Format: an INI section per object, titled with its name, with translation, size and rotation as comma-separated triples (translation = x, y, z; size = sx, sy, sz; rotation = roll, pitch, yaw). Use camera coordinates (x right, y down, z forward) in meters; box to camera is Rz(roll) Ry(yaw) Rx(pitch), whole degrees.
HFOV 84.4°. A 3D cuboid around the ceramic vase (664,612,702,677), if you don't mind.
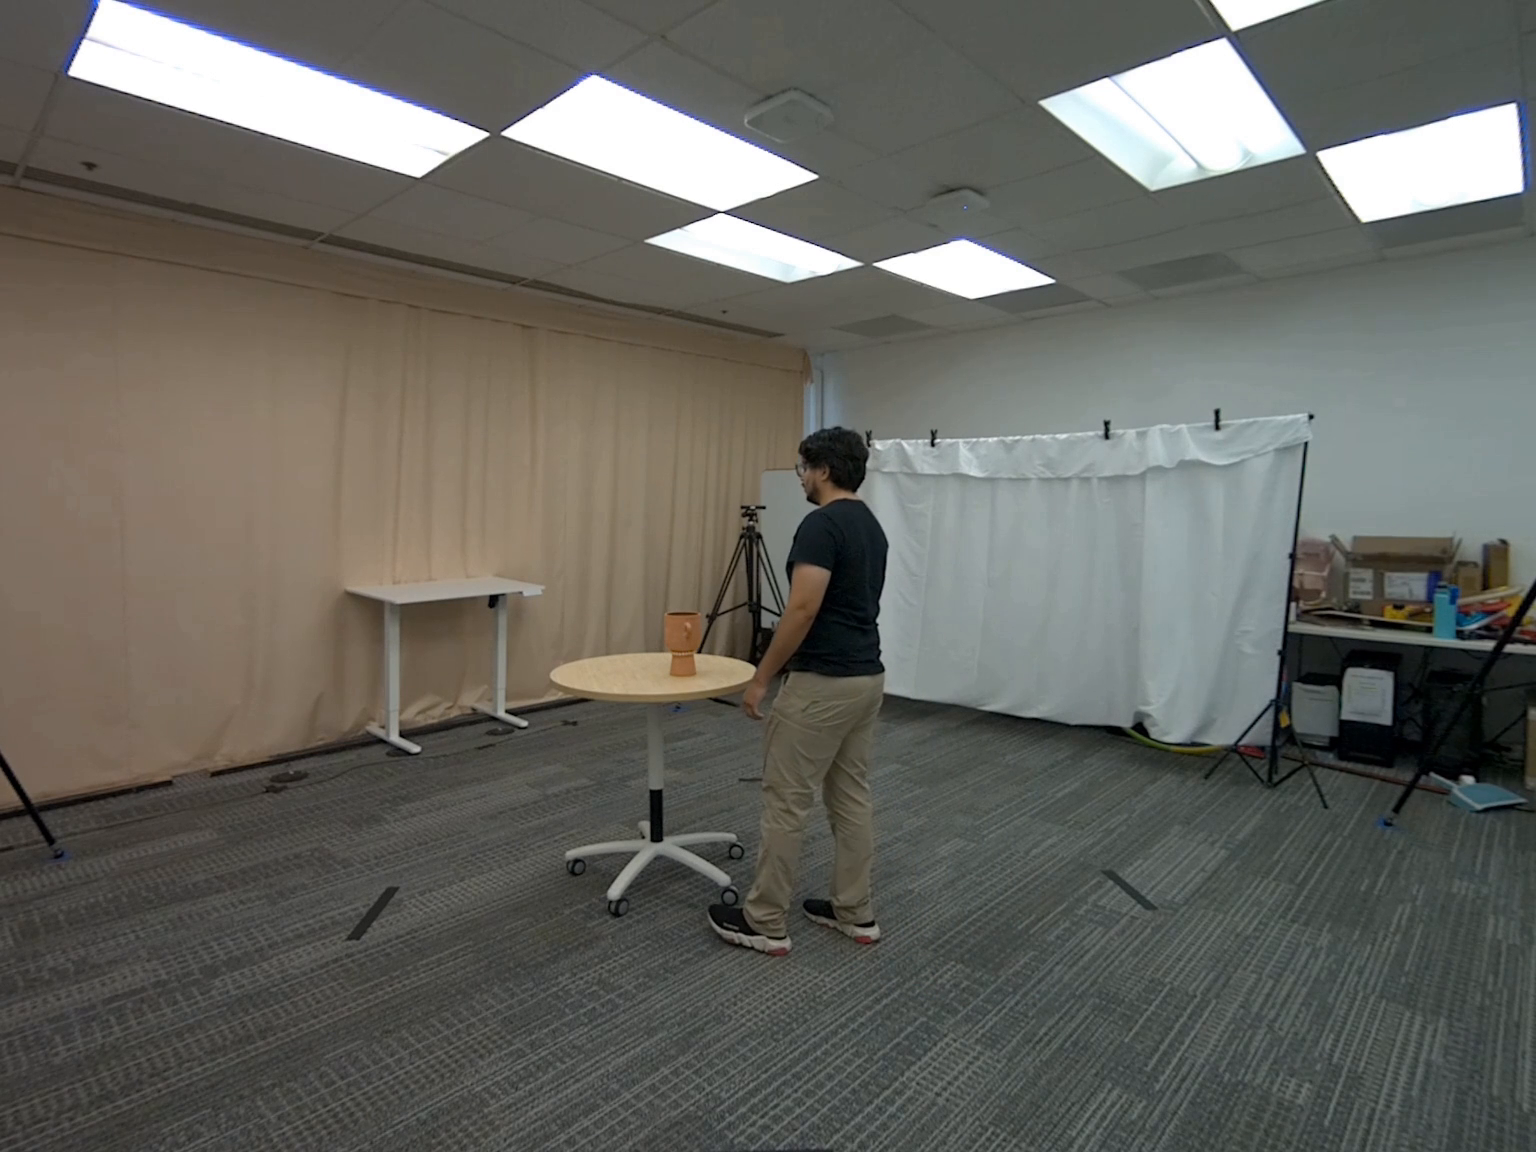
[ceramic vase]
translation = -0.309, 0.251, 3.064
size = 0.137, 0.219, 0.156
rotation = 2, 4, 19
